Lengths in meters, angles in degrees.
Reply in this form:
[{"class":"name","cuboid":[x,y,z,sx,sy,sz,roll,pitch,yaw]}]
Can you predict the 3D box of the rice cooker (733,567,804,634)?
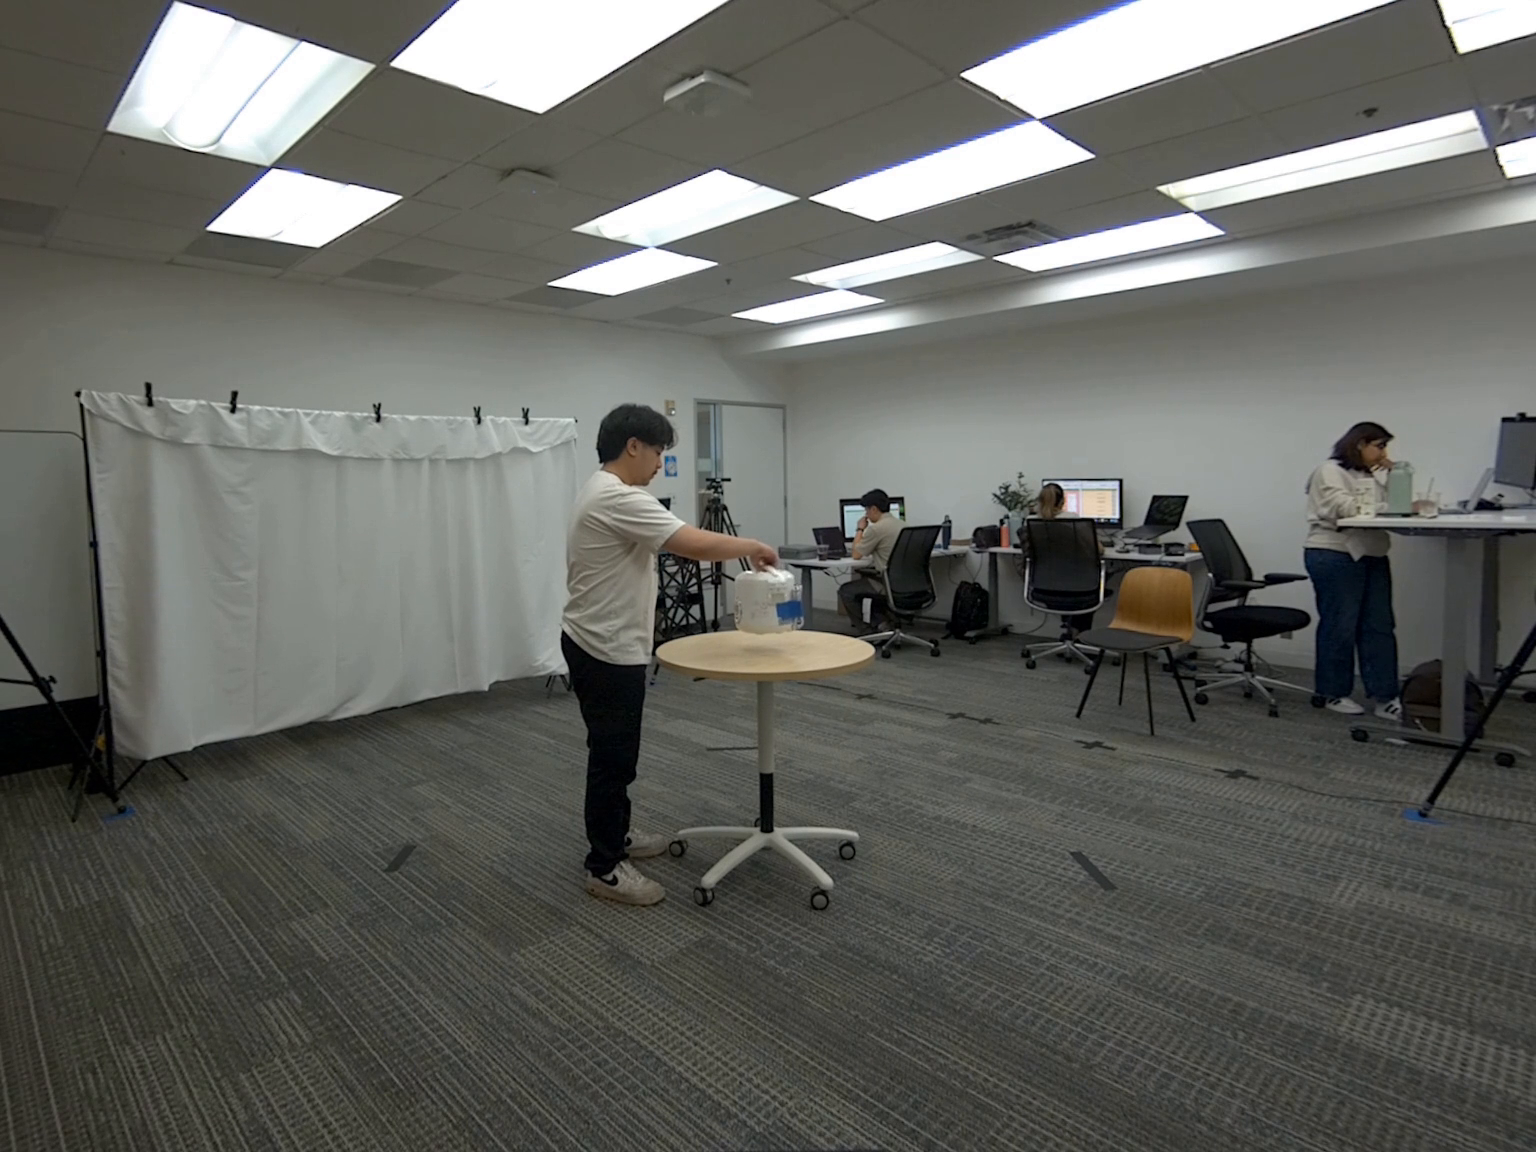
[{"class":"rice cooker","cuboid":[-0.010,0.074,2.952,0.213,0.232,0.225,-1,2,-22]}]
